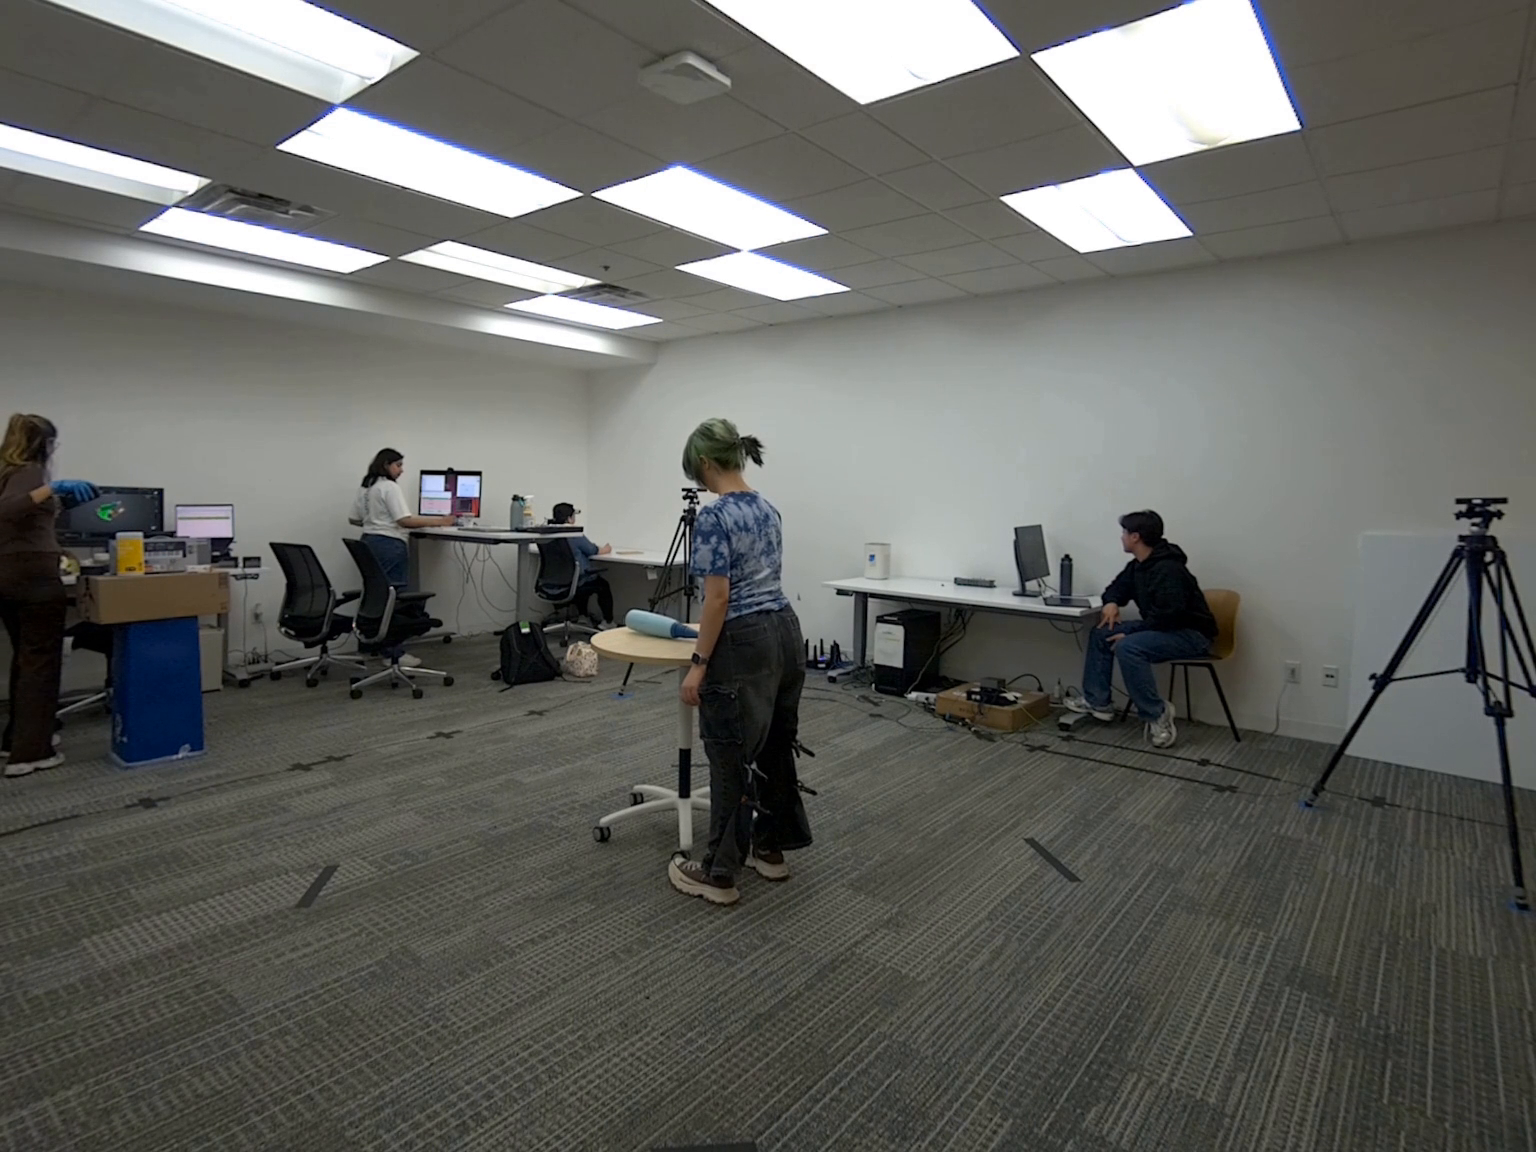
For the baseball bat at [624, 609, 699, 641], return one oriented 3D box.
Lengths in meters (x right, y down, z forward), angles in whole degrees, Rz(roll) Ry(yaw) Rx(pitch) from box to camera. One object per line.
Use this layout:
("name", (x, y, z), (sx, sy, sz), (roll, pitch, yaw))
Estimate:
("baseball bat", (-0.362, 0.219, 3.408), (0.562, 0.088, 0.086), (9, 8, 36))
